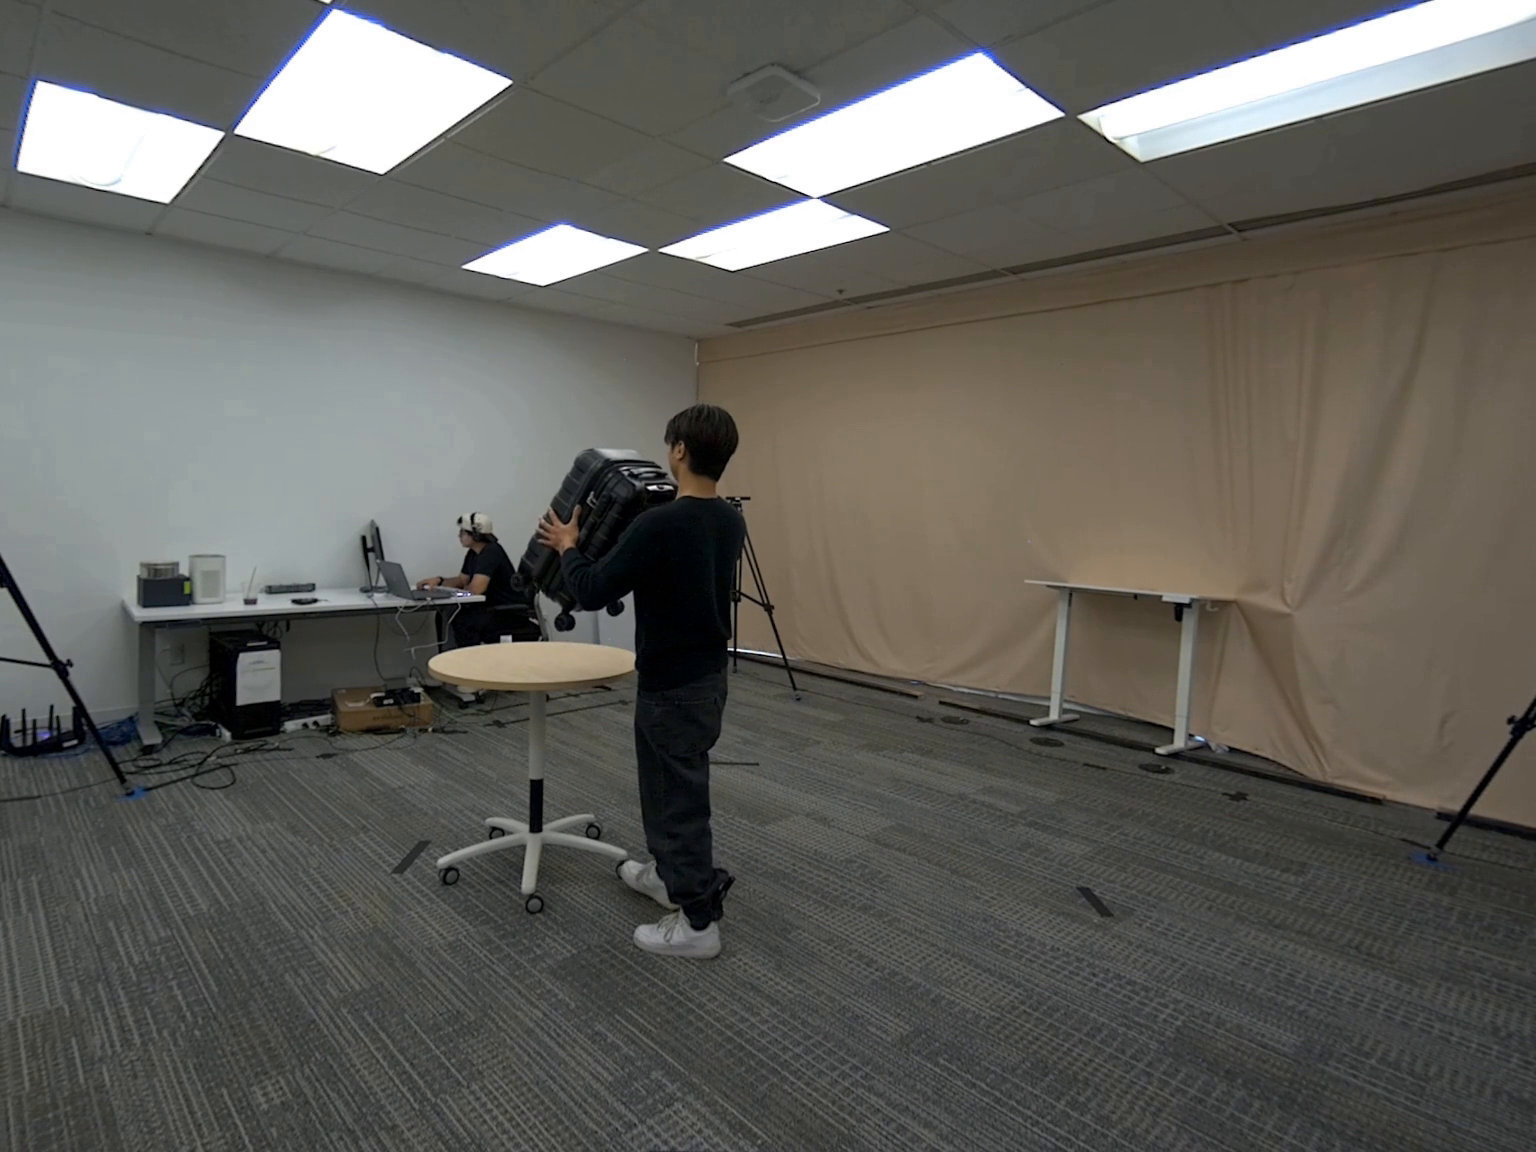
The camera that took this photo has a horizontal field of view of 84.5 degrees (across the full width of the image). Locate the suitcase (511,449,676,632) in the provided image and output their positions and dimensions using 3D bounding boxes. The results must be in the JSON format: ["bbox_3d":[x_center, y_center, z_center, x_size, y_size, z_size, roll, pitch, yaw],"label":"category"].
[{"bbox_3d":[-0.554,-0.139,2.754,0.253,0.547,0.370,37,20,17],"label":"suitcase"}]
